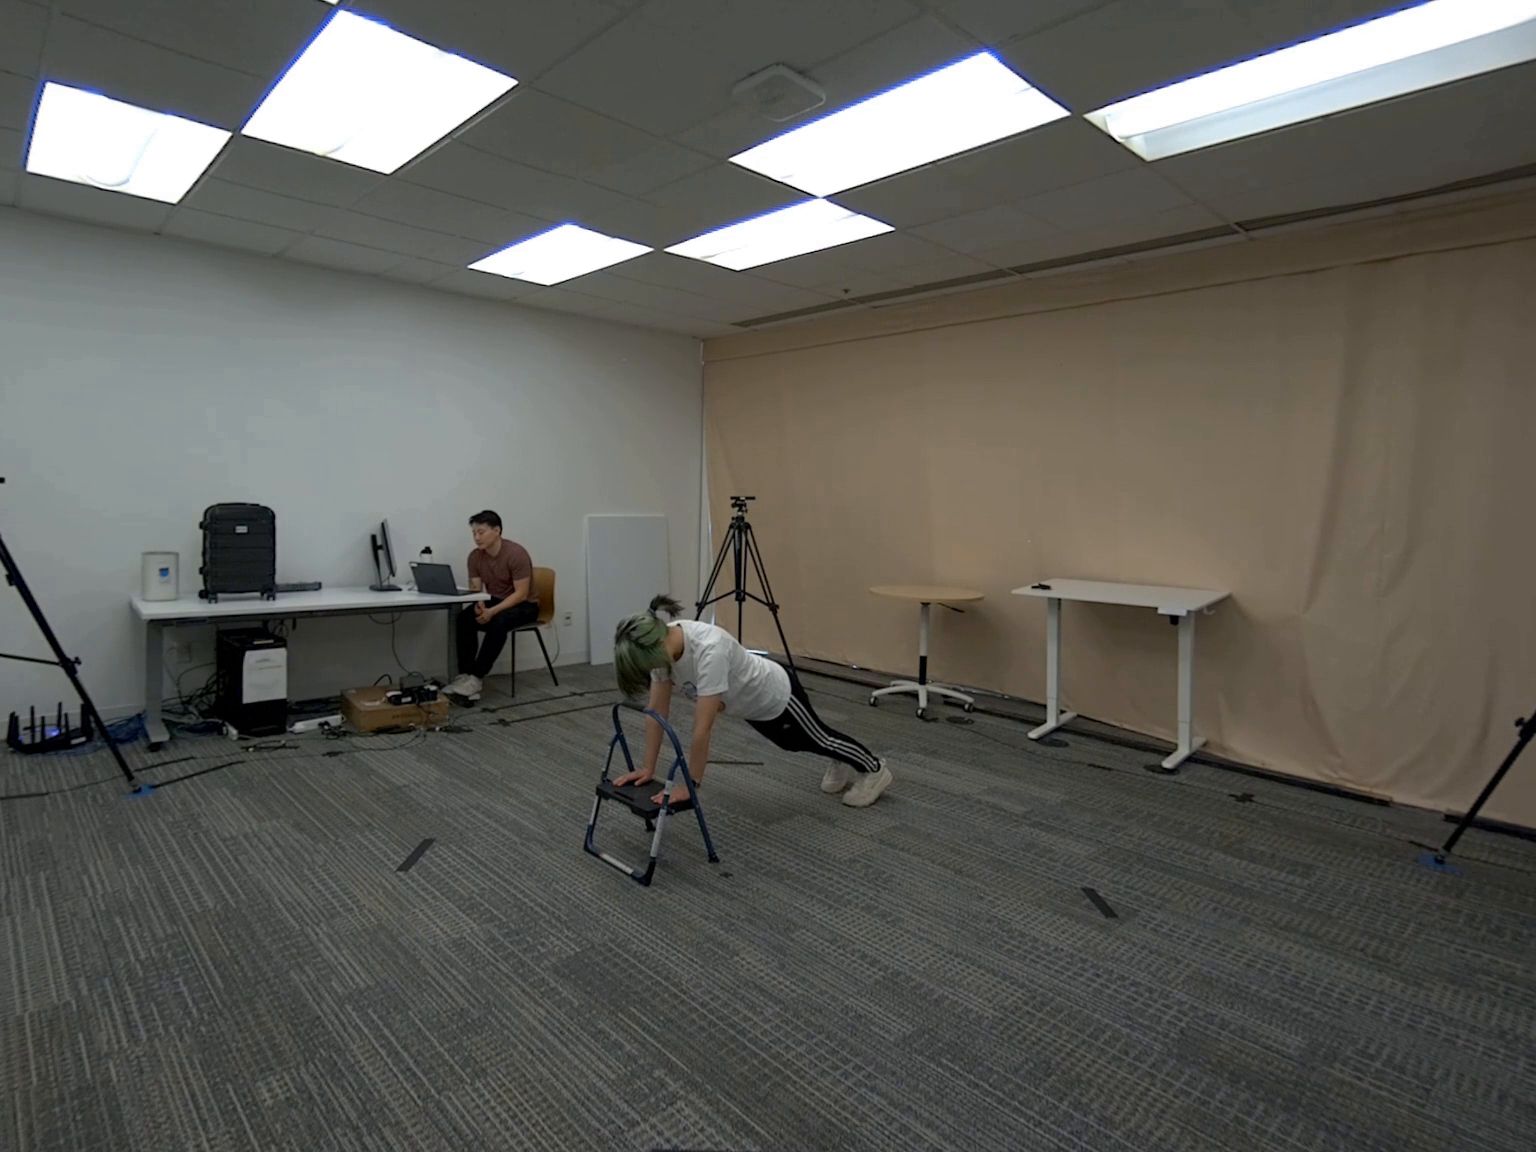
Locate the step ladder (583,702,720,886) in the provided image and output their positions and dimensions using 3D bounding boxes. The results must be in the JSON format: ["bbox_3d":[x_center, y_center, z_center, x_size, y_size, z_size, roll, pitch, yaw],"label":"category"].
[{"bbox_3d":[-0.457,0.783,3.241,0.341,0.604,0.442,-2,5,-44],"label":"step ladder"}]
